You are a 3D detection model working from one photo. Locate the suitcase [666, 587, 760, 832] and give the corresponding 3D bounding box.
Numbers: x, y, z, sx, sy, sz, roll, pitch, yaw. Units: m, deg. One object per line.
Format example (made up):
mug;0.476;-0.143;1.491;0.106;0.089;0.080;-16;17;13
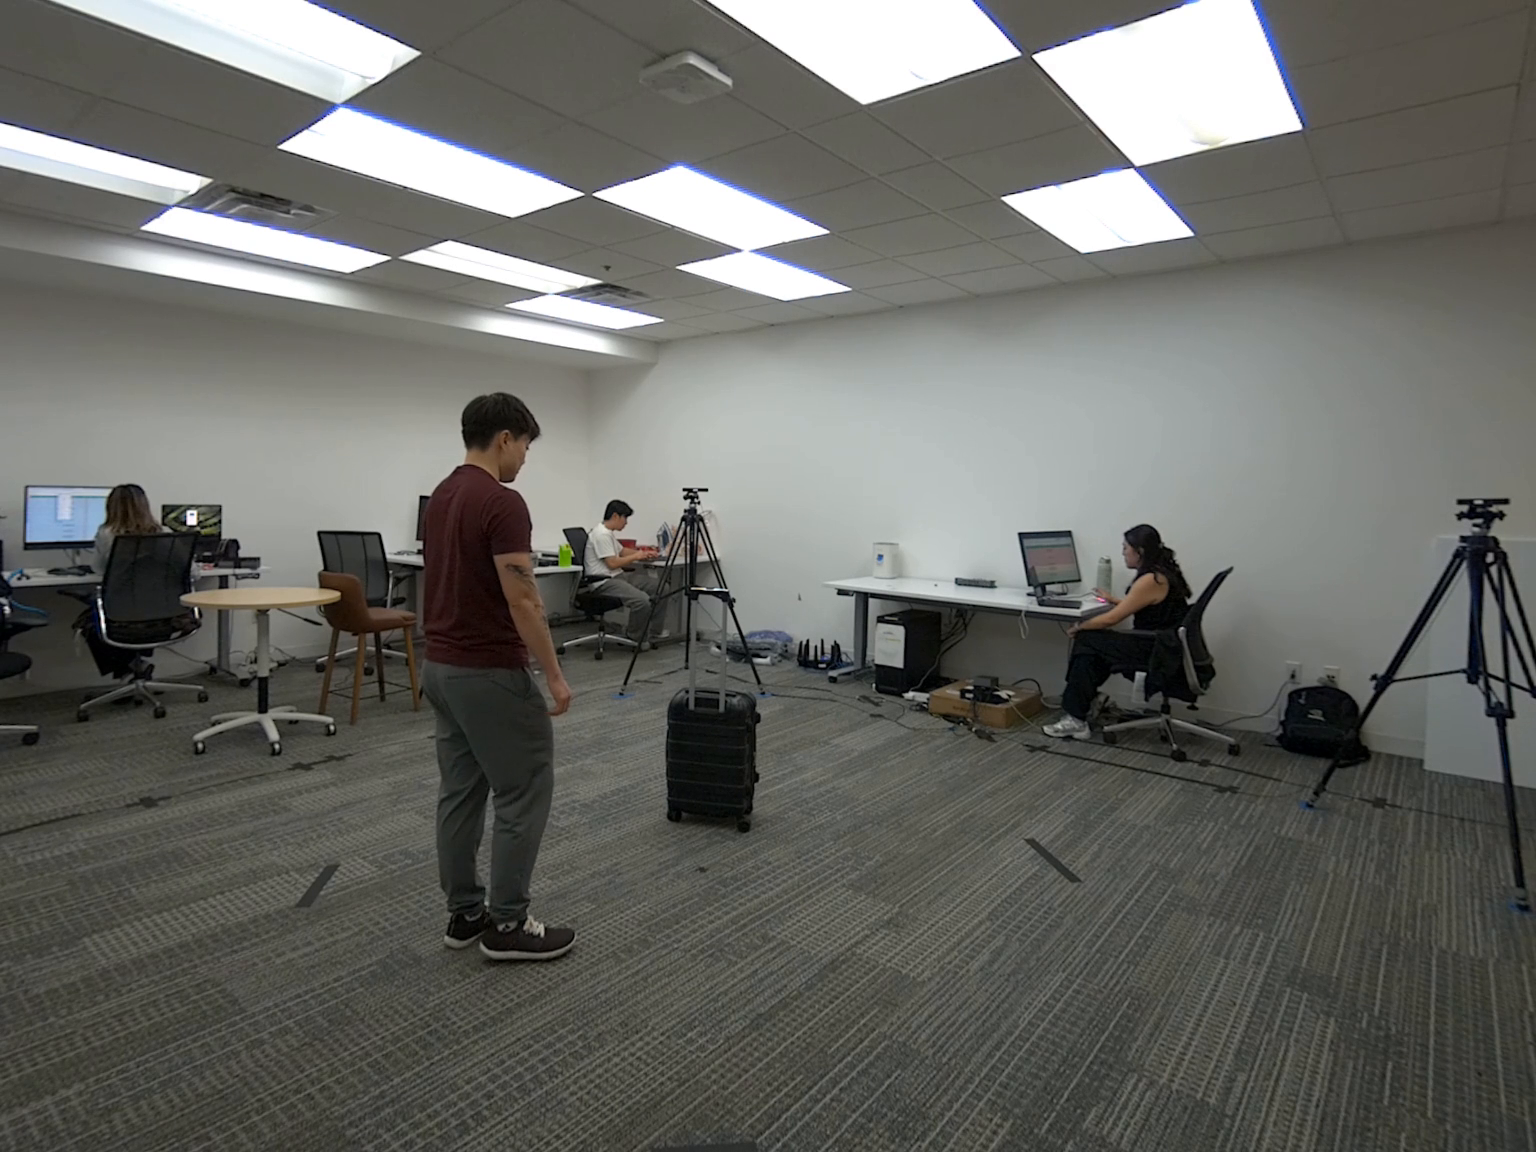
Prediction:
suitcase;-0.242;0.543;3.598;0.390;0.979;0.253;1;0;13
